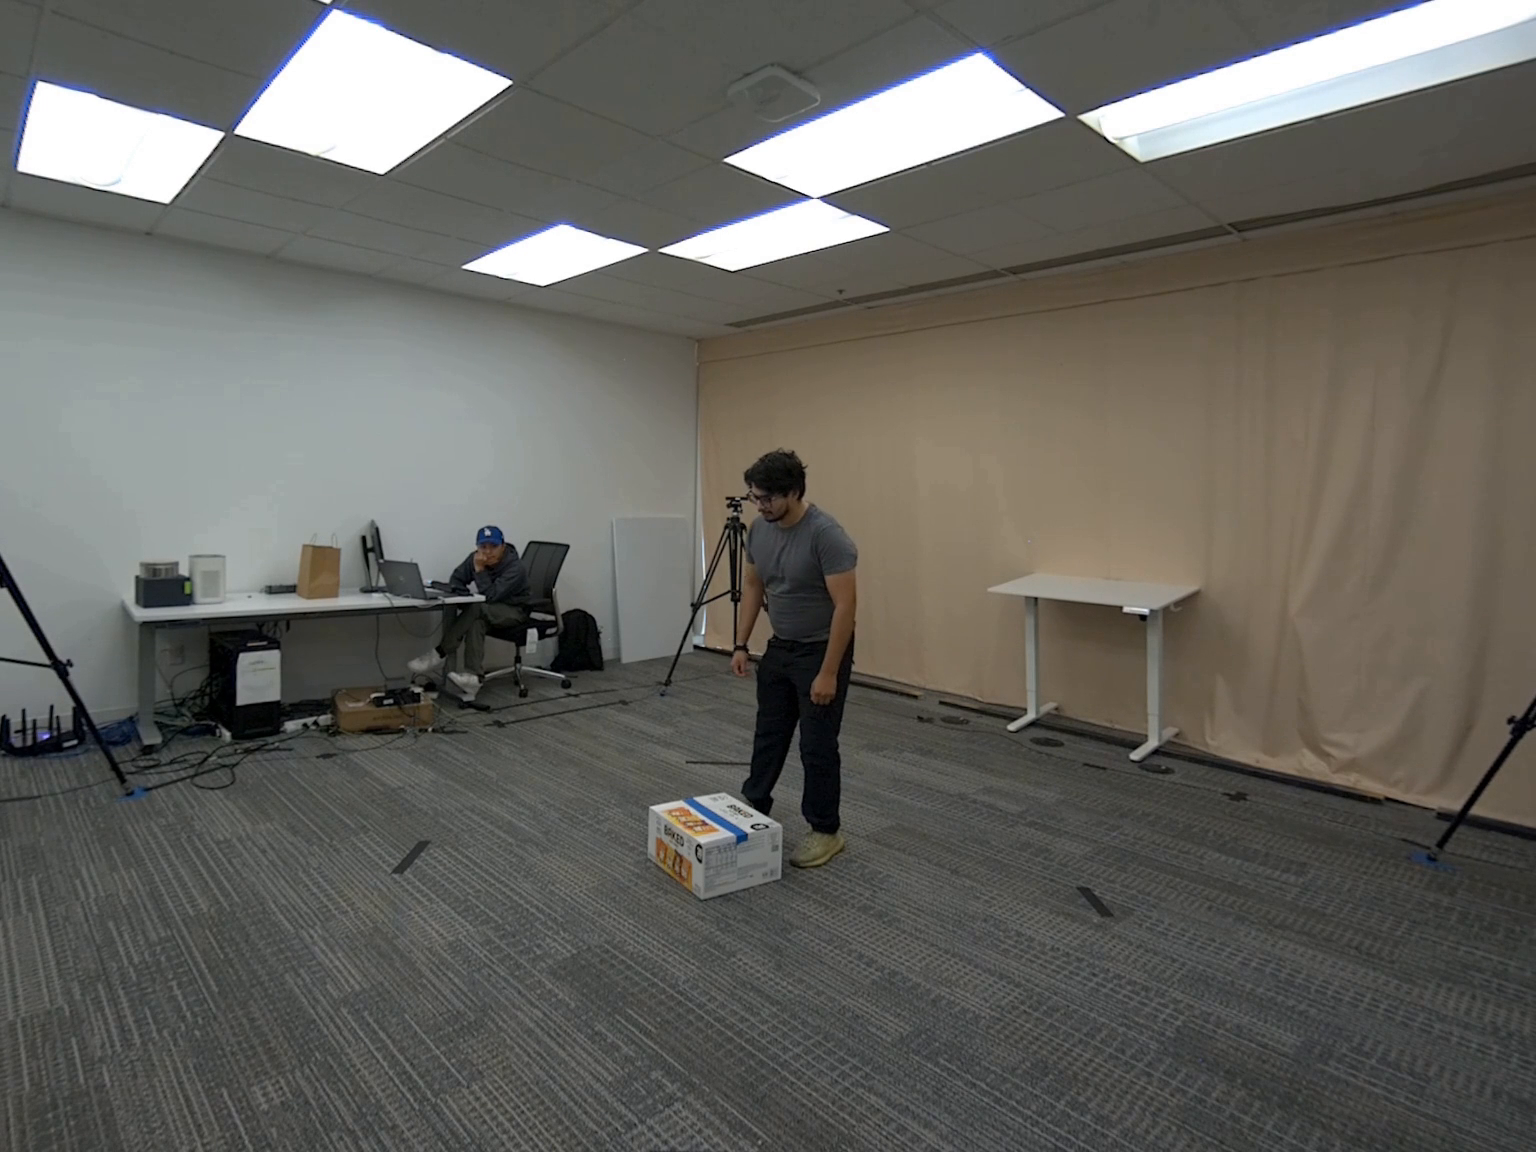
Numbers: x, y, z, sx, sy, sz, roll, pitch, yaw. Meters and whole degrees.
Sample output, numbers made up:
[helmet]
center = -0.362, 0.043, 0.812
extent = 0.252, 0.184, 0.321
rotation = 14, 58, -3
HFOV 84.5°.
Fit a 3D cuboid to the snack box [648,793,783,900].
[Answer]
[snack box]
center = -0.210, 1.001, 3.148
extent = 0.333, 0.205, 0.415
rotation = -2, 6, -34
